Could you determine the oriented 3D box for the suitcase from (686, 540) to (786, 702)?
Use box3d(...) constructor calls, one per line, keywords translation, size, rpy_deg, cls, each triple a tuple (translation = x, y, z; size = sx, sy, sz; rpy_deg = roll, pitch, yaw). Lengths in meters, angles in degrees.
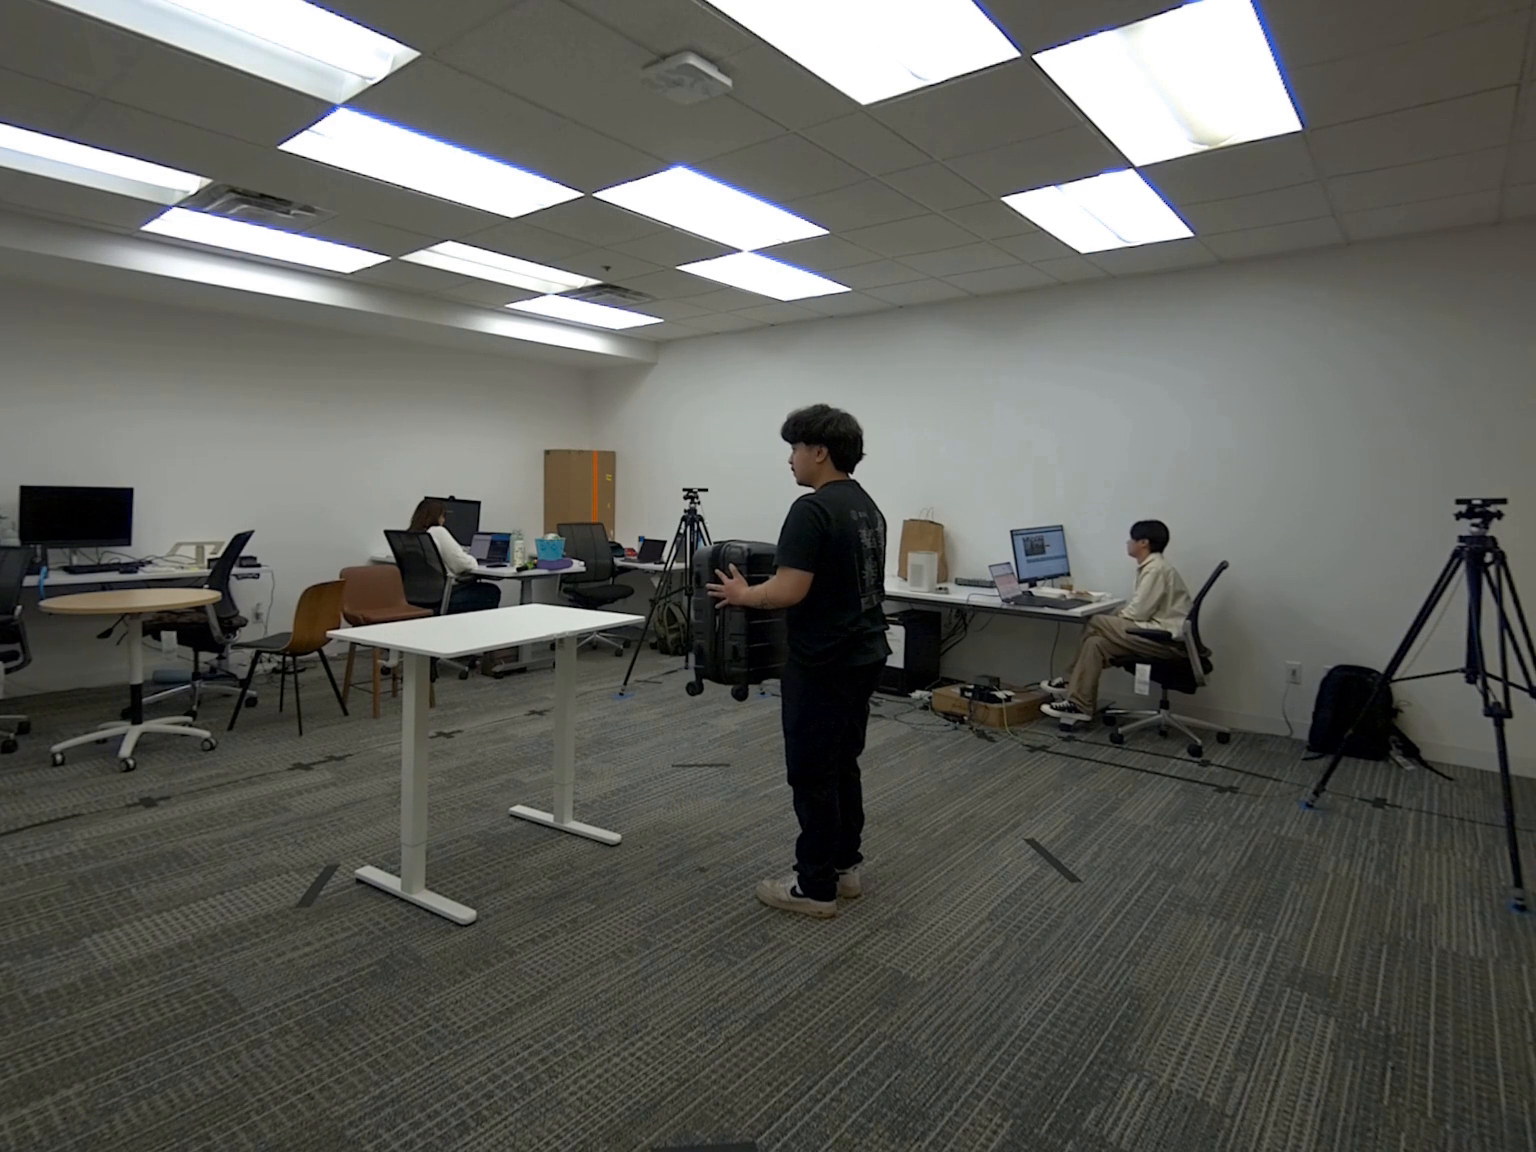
box3d(translation=(-0.098, 0.144, 3.100), size=(0.256, 0.551, 0.364), rpy_deg=(-2, -2, 36), cls="suitcase")
